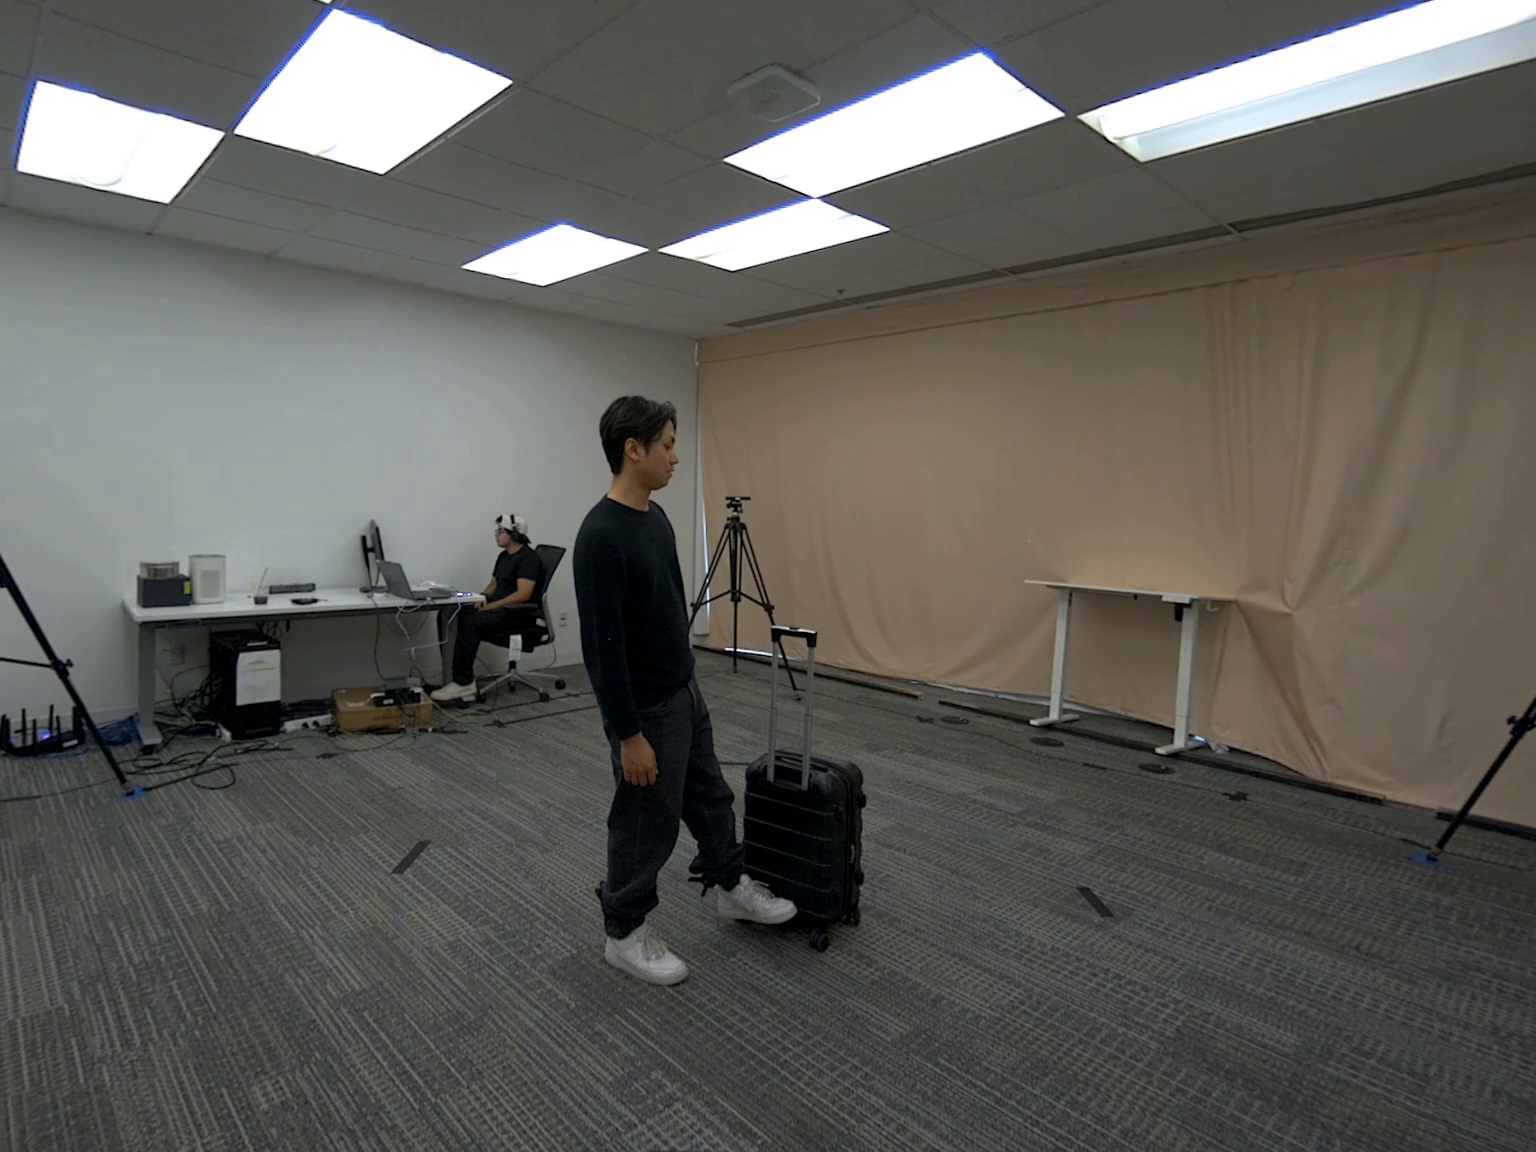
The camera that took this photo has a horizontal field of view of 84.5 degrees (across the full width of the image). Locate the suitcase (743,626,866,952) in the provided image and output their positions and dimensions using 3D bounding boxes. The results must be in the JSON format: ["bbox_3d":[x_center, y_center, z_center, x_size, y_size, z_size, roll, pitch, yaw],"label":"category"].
[{"bbox_3d":[0.115,0.662,2.774,0.393,0.977,0.251,3,2,34],"label":"suitcase"}]
